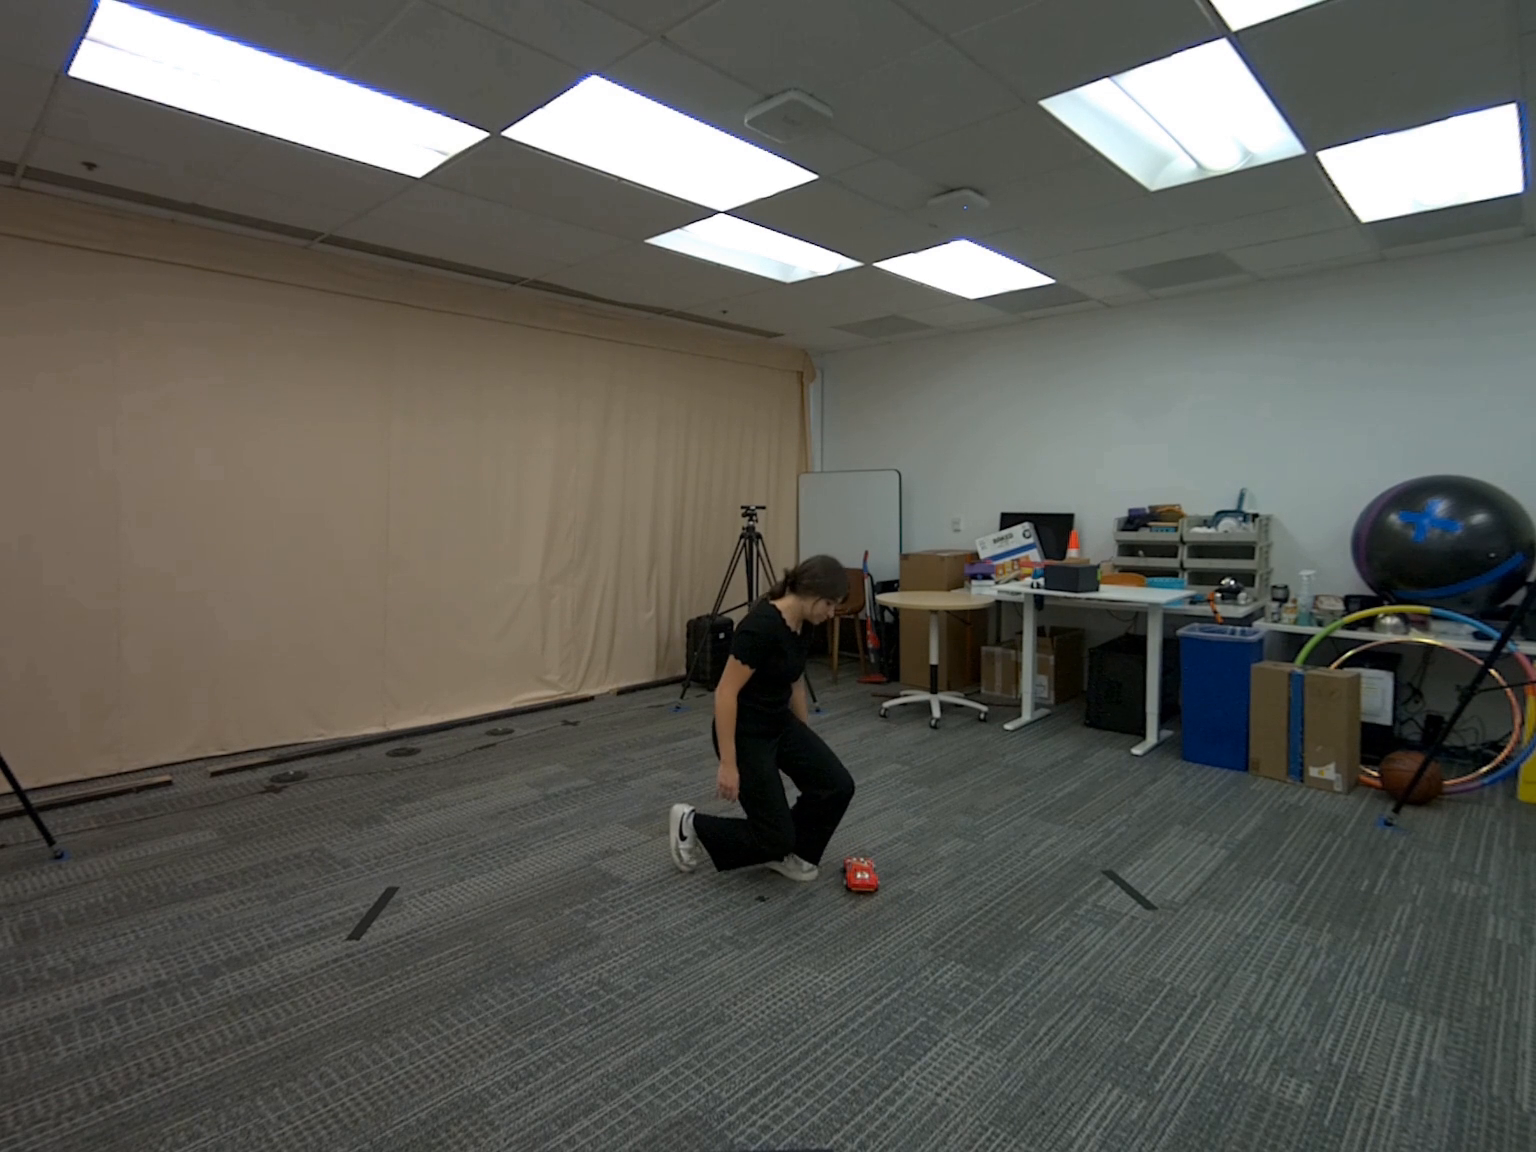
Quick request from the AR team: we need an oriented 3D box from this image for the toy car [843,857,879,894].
[{"bbox_3d":[0.344,1.102,3.090,0.131,0.083,0.252,0,-6,2],"label":"toy car"}]
